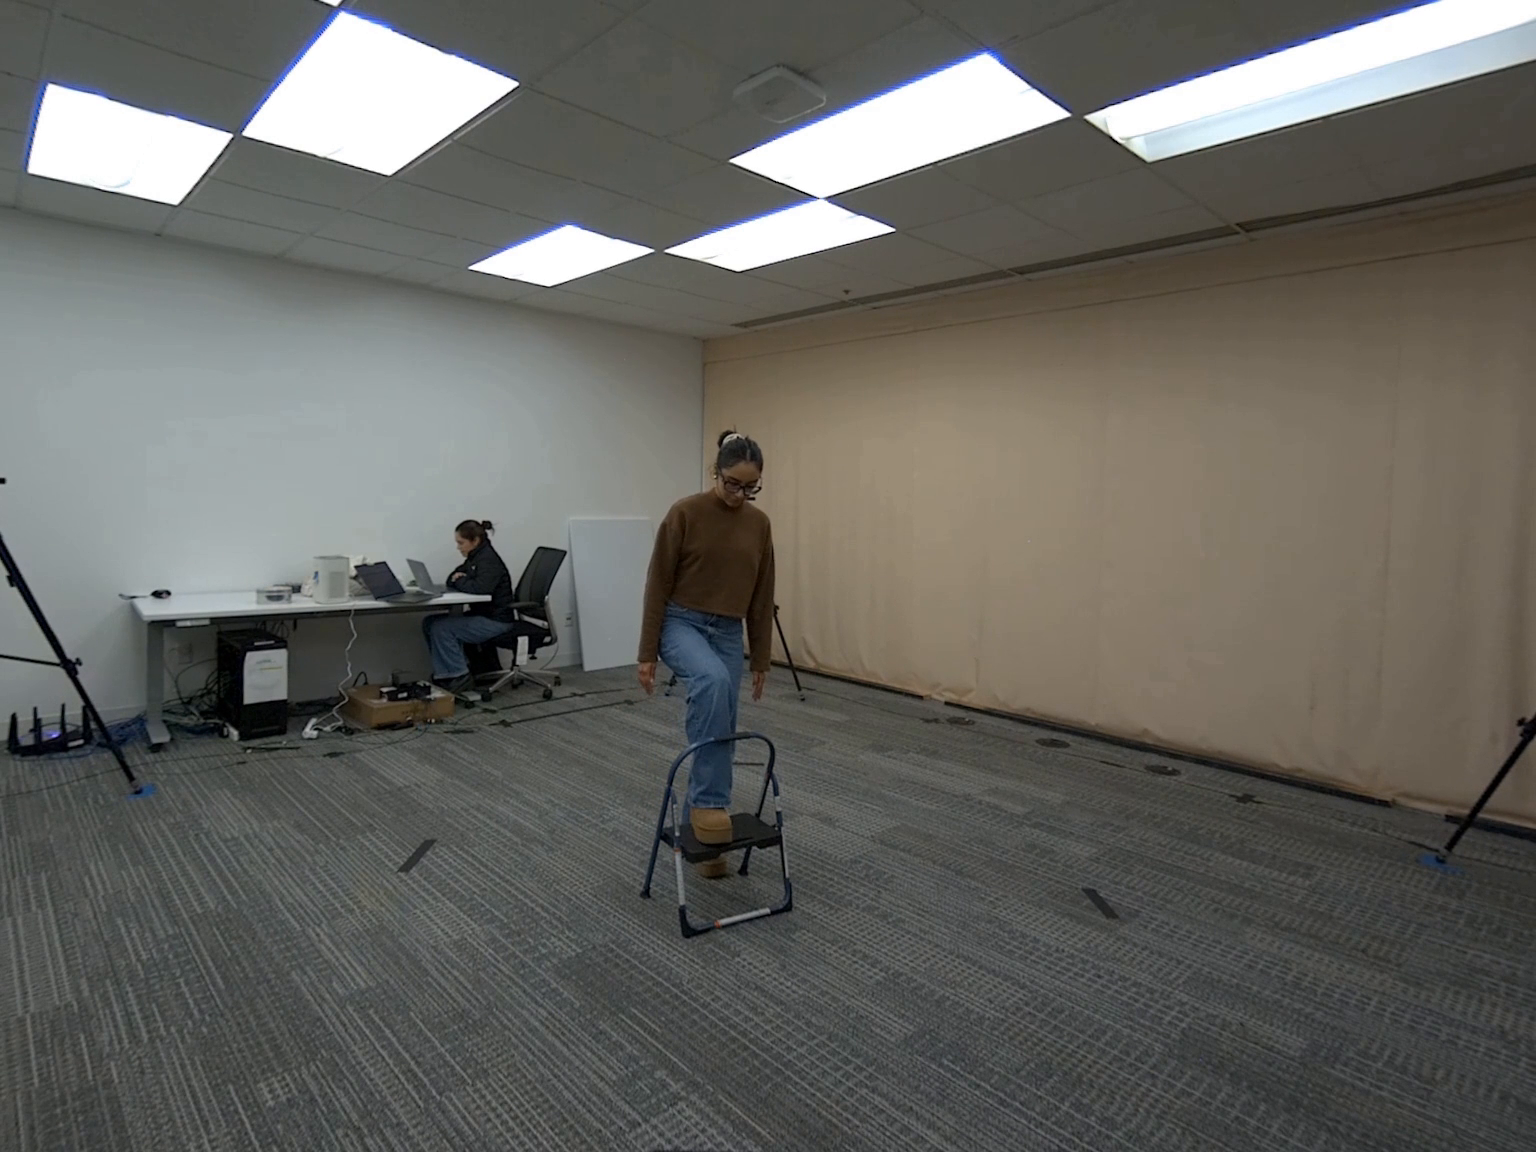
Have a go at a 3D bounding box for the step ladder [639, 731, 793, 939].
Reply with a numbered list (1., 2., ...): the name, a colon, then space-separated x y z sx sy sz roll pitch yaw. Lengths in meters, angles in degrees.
1. step ladder: -0.178 0.823 2.881 0.421 0.604 0.357 0 4 -32
